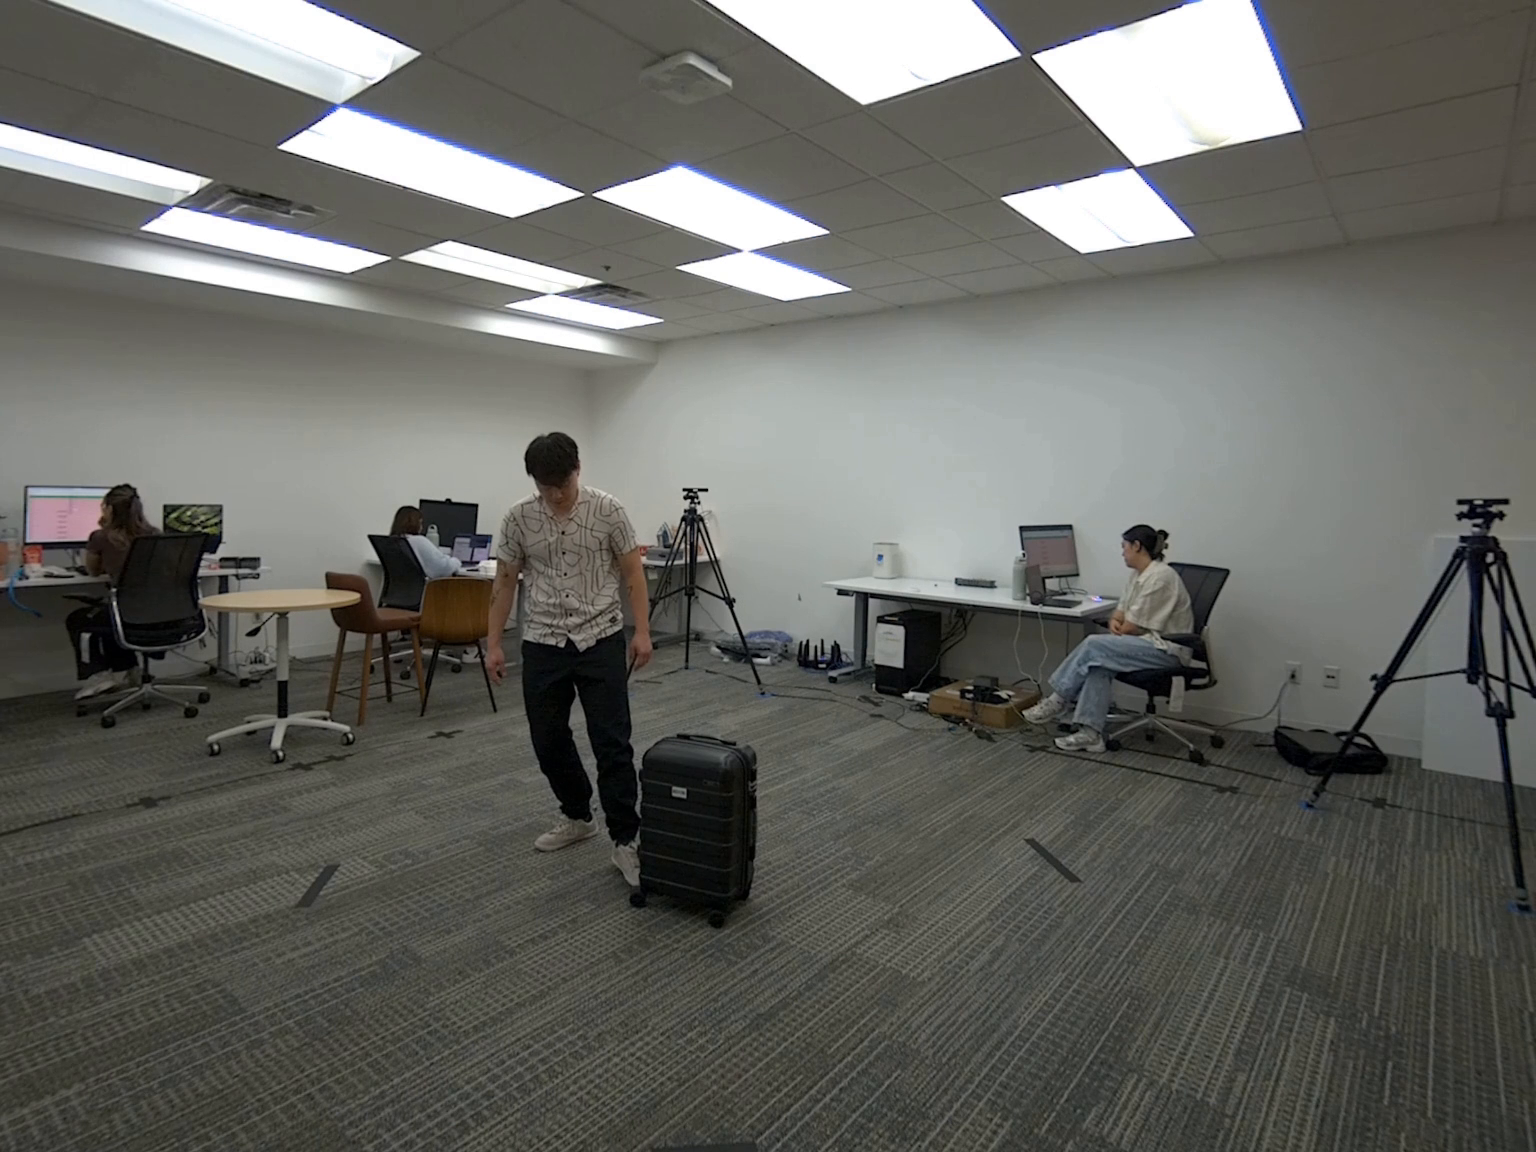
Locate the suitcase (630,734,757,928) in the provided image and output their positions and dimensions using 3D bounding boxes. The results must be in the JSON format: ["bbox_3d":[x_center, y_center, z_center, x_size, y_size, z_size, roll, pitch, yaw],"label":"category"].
[{"bbox_3d":[-0.239,0.817,2.845,0.384,0.548,0.243,4,4,22],"label":"suitcase"}]
